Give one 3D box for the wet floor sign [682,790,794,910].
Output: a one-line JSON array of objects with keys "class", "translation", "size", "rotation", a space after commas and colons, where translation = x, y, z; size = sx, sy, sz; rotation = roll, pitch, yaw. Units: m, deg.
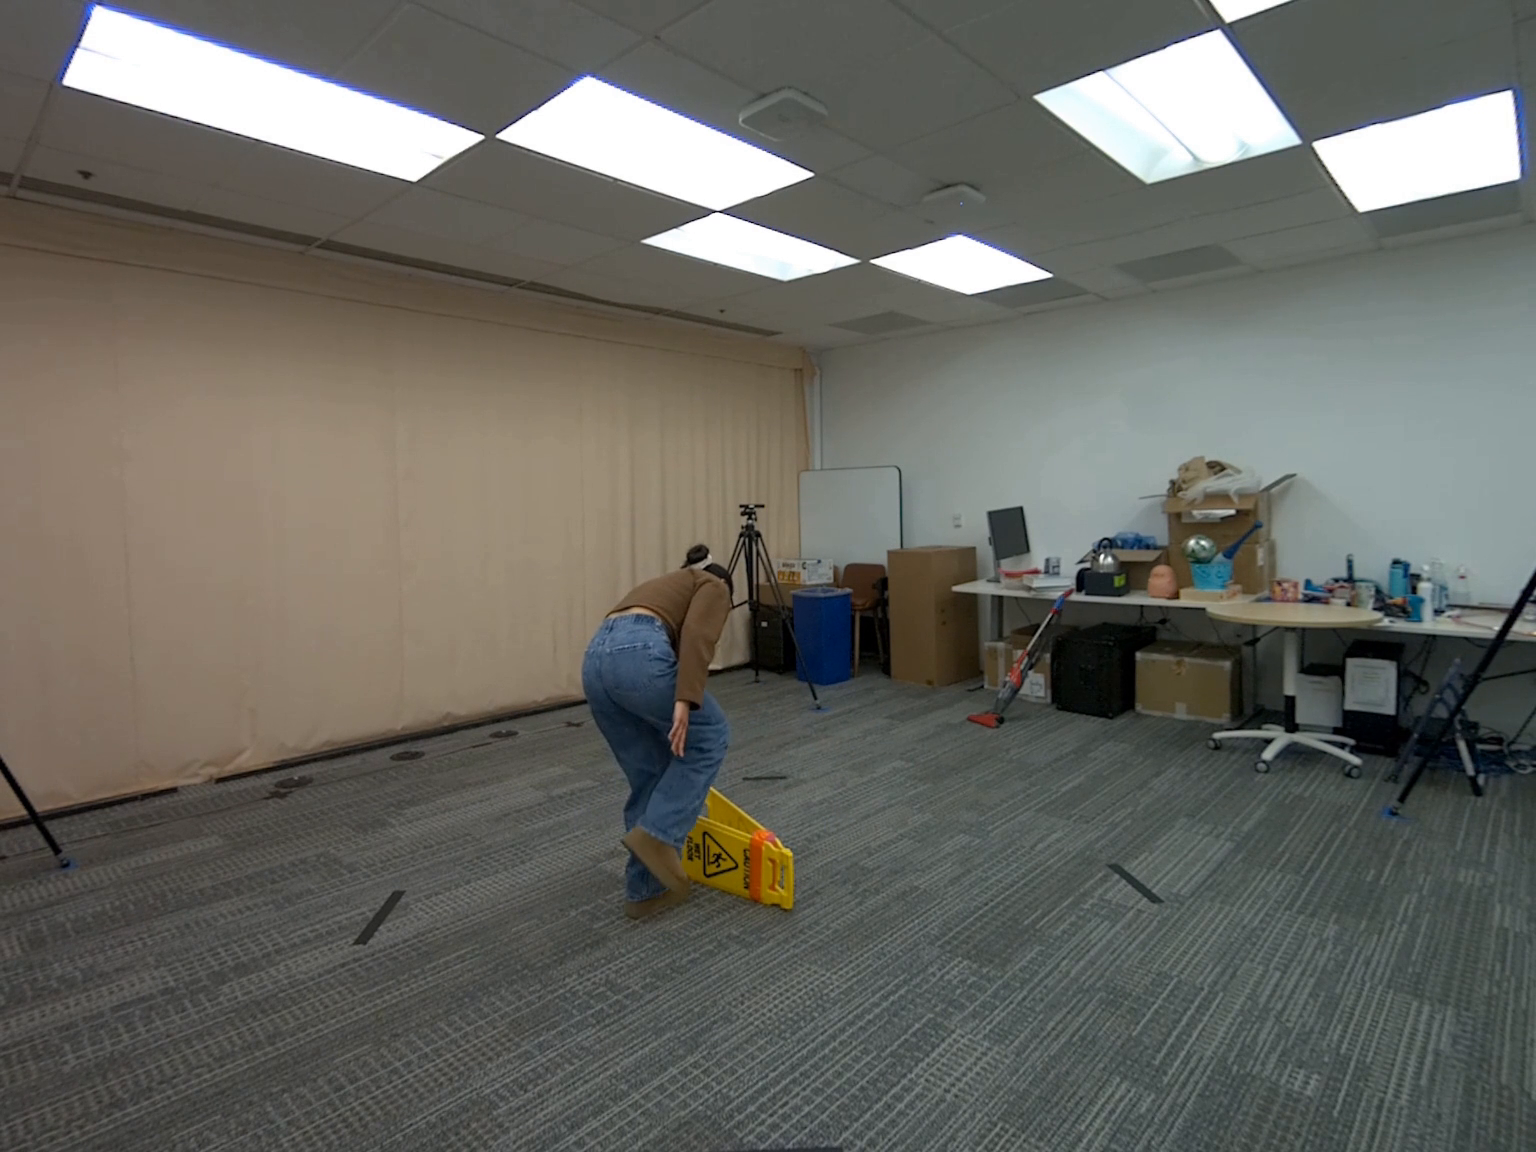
[{"class": "wet floor sign", "translation": [-0.140, 1.005, 3.105], "size": [0.281, 0.281, 0.668], "rotation": [-5, 9, -43]}]
